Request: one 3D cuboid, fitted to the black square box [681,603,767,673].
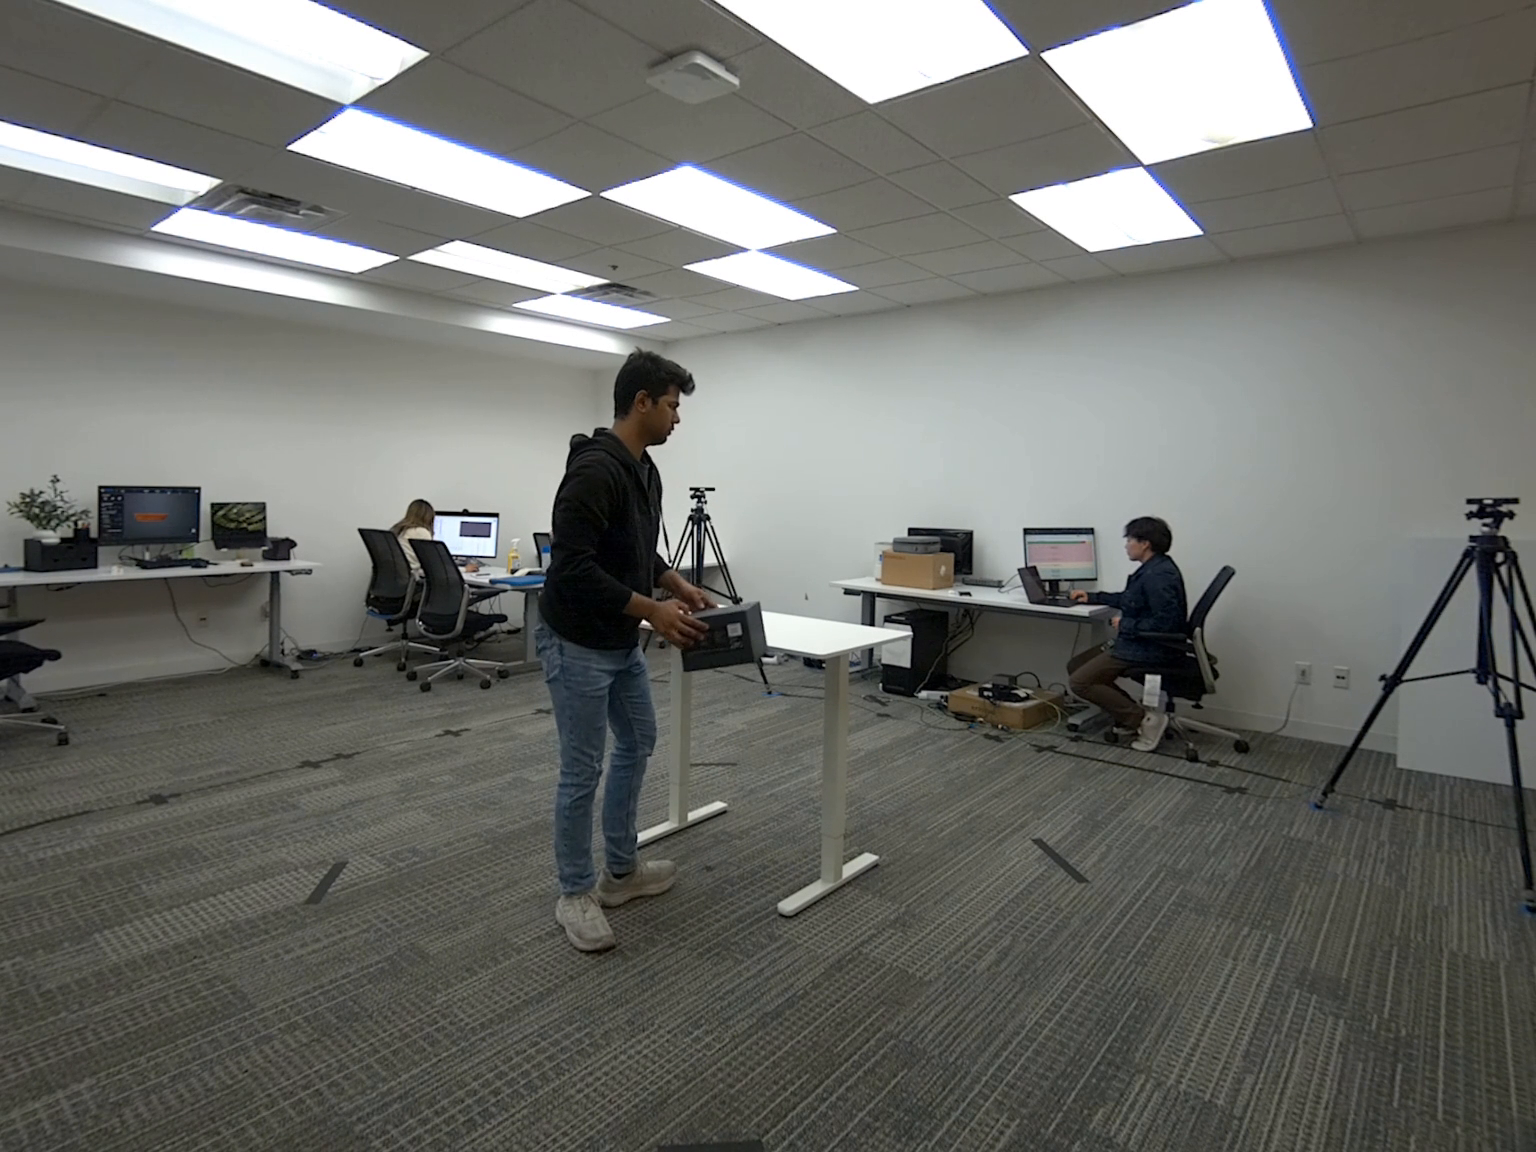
[{"bbox_3d":[-0.141,0.188,2.573,0.218,0.156,0.226,-8,2,7],"label":"black square box"}]
